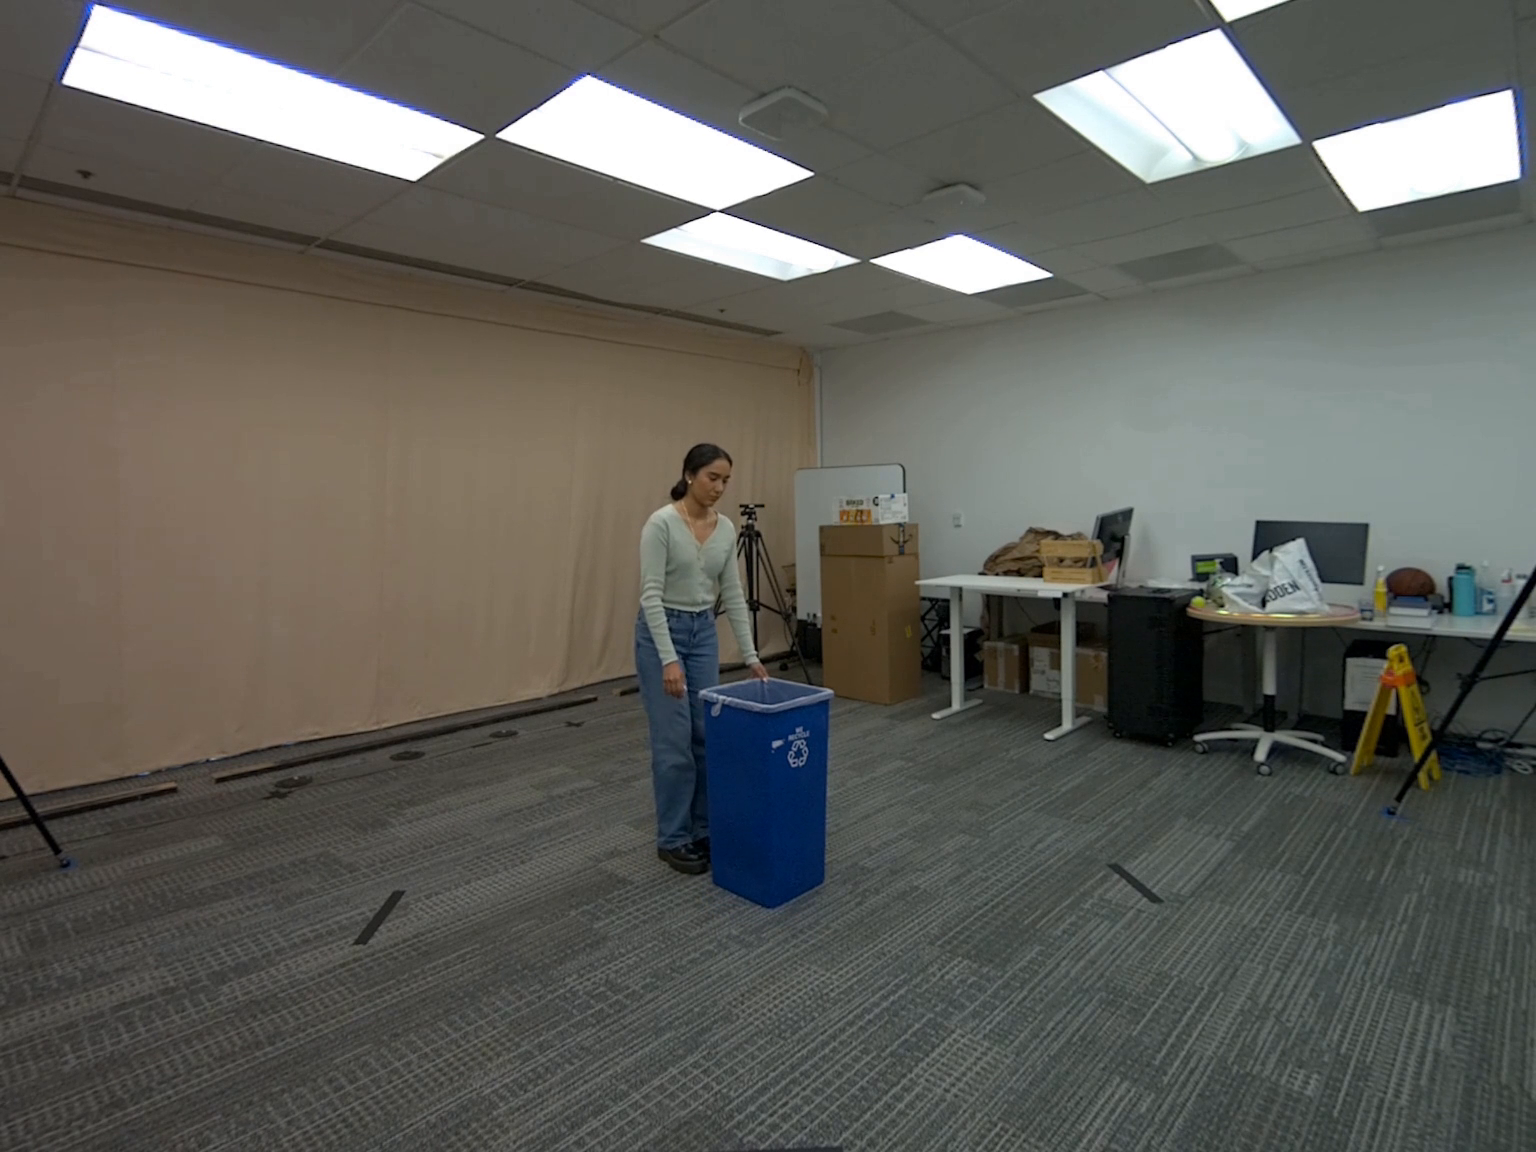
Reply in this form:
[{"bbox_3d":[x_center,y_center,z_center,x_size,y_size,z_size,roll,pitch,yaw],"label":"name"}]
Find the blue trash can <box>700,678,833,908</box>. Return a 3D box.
[{"bbox_3d":[0.000,0.773,3.083,0.390,0.712,0.363,2,5,45],"label":"blue trash can"}]
